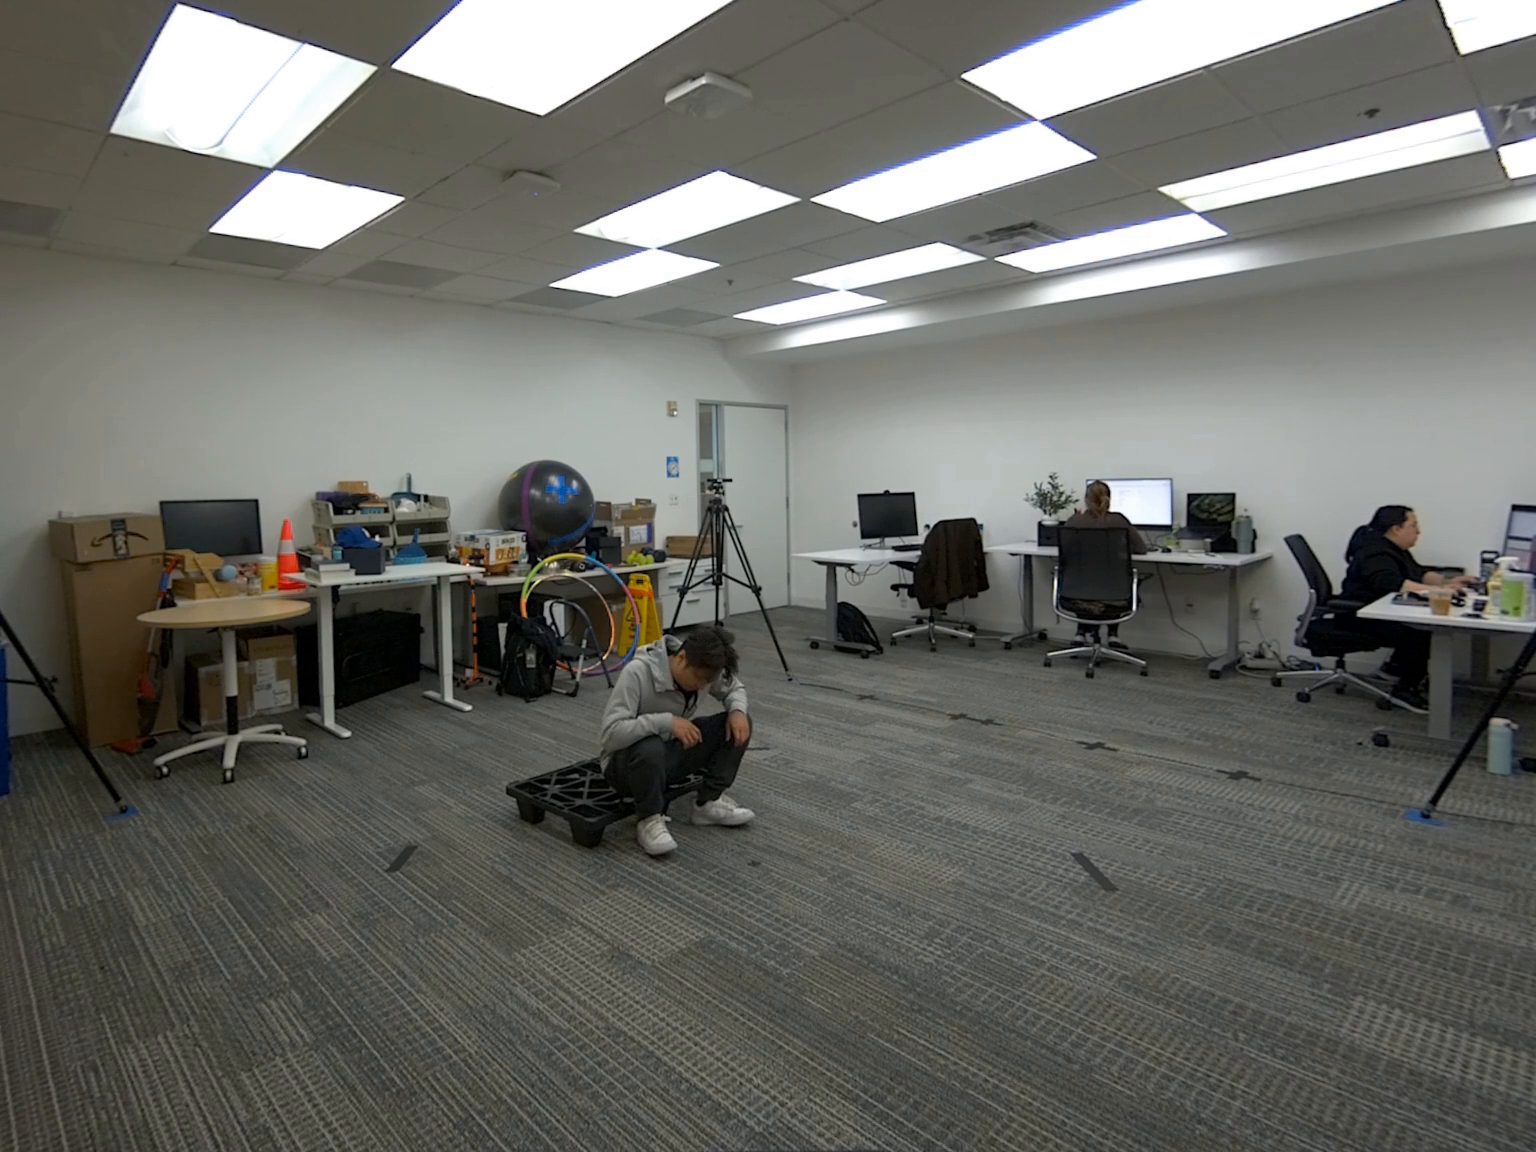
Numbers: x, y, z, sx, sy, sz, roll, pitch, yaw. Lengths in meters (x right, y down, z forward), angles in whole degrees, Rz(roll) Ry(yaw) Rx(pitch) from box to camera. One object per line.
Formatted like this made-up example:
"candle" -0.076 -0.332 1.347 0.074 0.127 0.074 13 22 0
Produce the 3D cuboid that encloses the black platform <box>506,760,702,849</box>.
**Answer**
"black platform" -0.616 0.925 3.672 0.624 0.142 0.785 5 9 41
